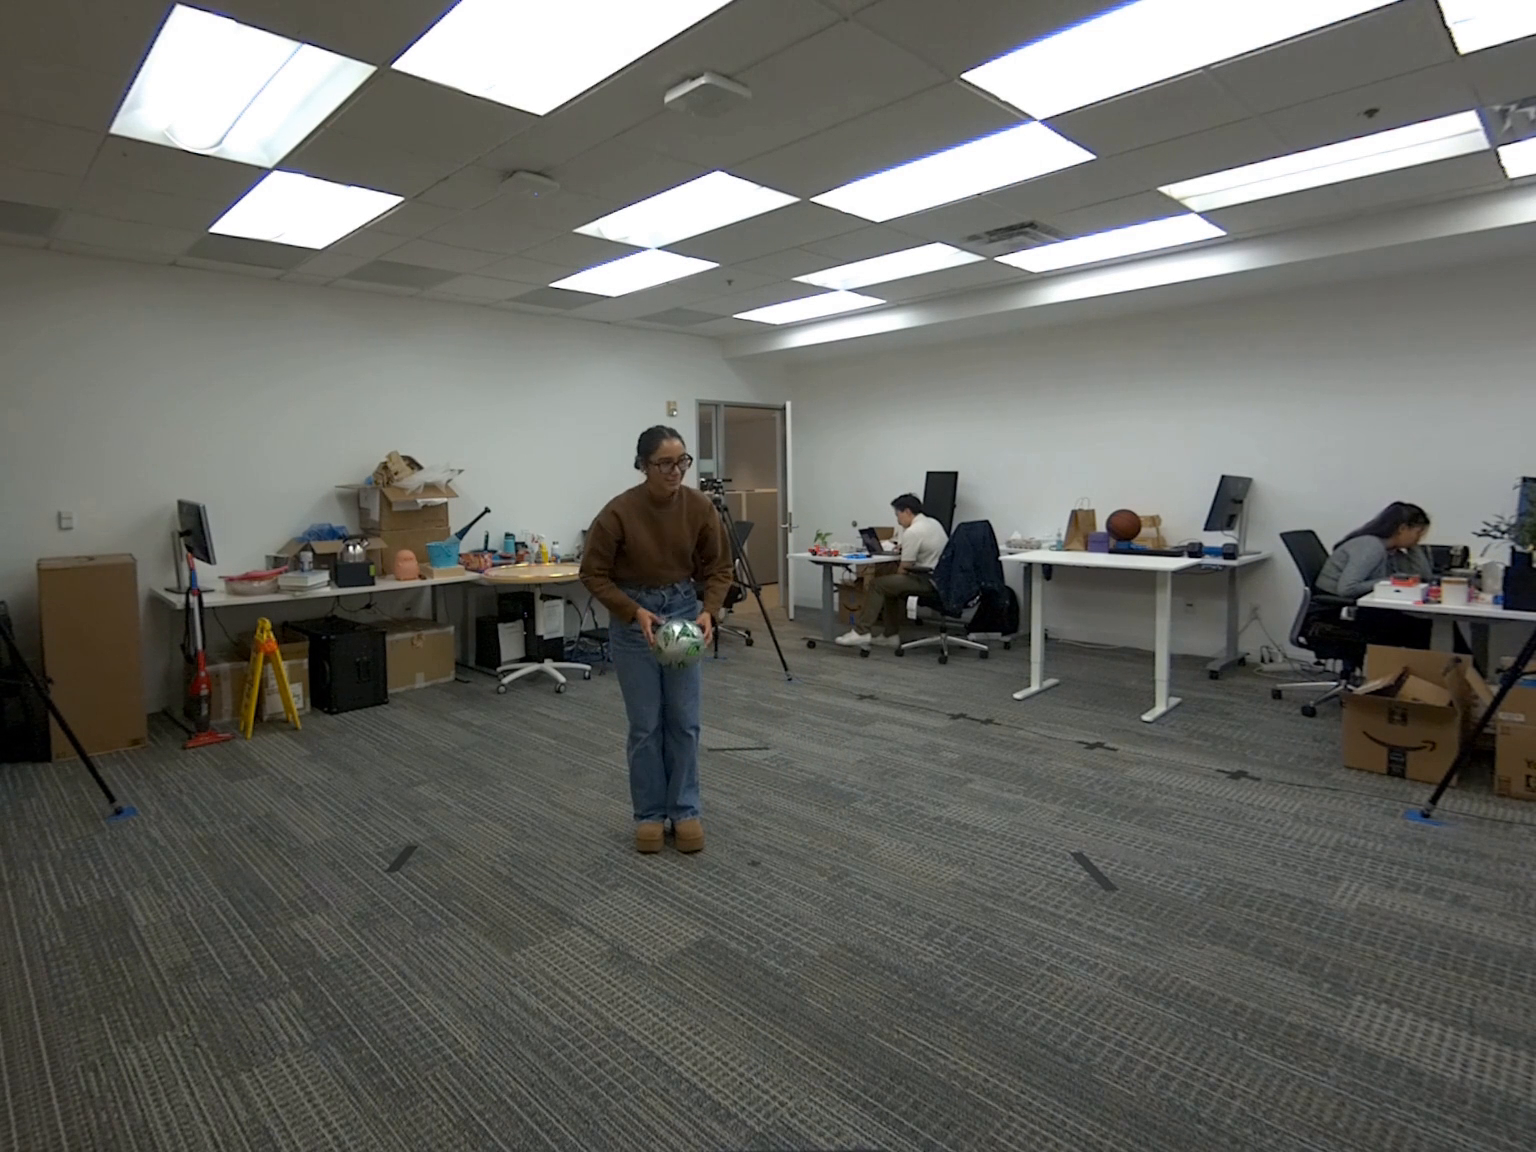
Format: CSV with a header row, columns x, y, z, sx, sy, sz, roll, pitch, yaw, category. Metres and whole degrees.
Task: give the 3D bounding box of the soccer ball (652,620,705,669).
x,y,z,sx,sy,sz,roll,pitch,yaw,category
-0.320,0.243,3.057,0.187,0.187,0.188,-1,5,-2,soccer ball
